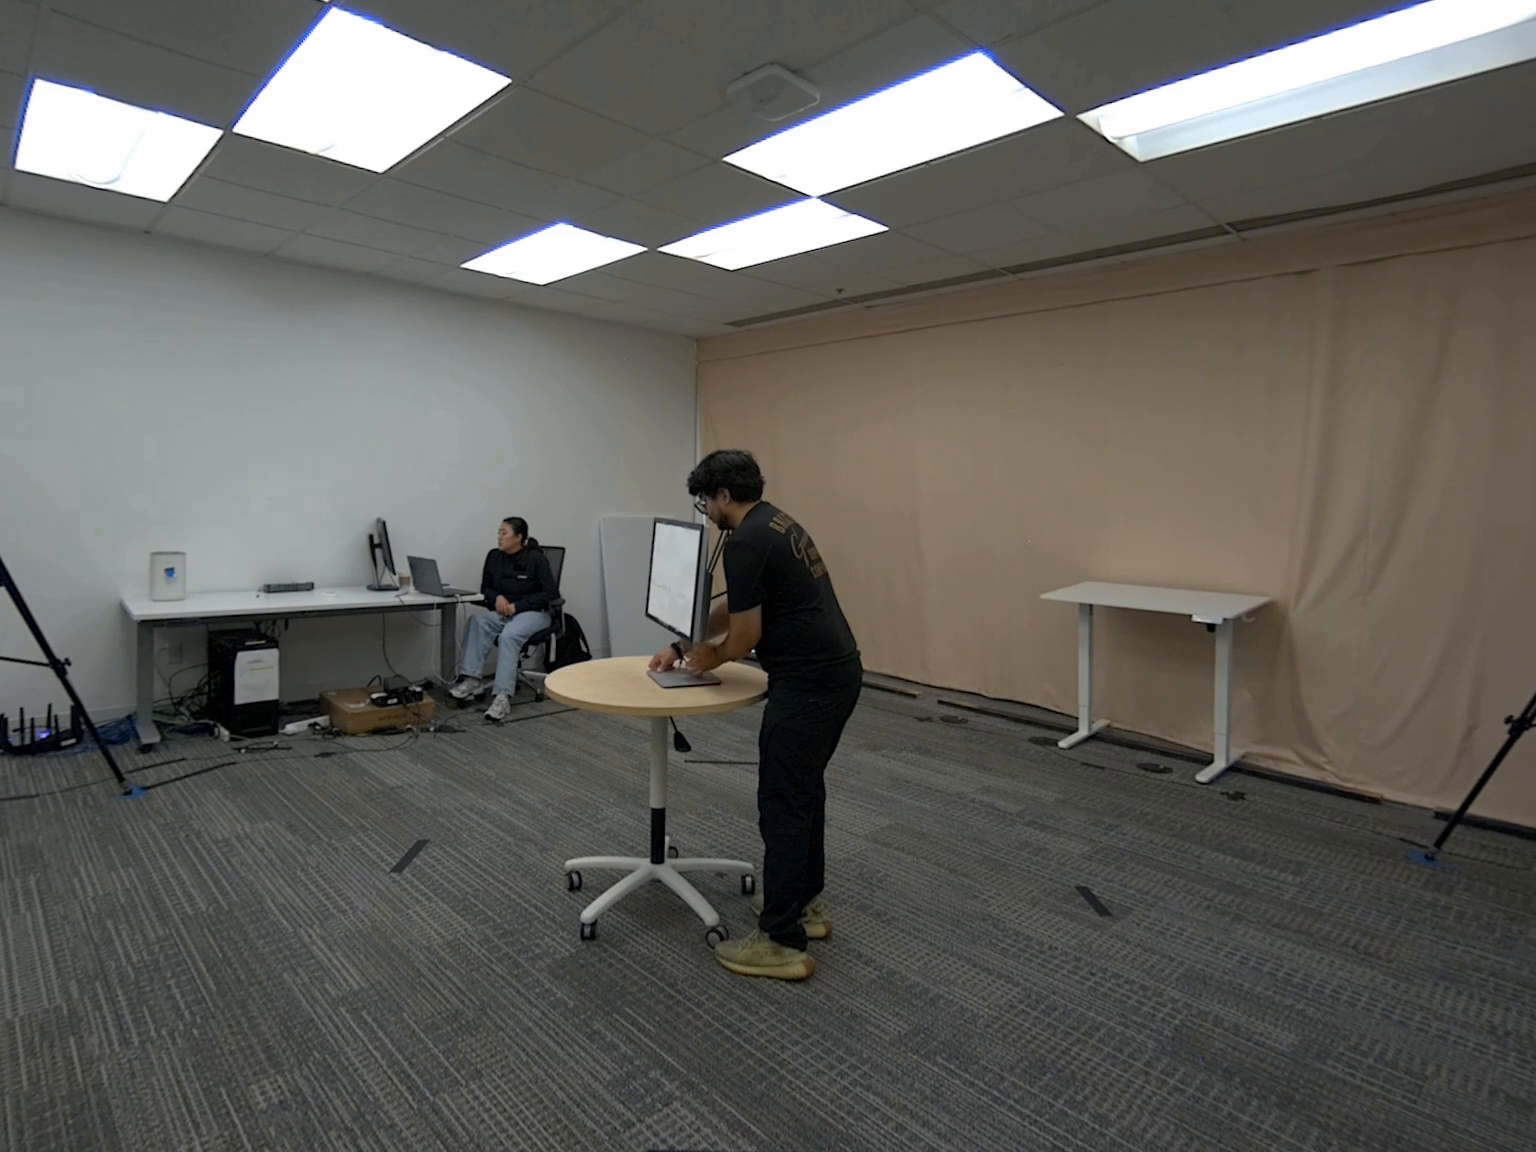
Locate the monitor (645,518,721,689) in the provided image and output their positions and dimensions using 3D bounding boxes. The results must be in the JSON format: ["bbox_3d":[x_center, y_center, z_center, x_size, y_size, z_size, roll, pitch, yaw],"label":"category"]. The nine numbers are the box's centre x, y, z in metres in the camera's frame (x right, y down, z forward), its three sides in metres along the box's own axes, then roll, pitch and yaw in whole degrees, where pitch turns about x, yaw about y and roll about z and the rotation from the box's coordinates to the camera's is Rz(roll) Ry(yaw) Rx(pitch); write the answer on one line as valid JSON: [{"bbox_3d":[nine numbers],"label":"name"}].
[{"bbox_3d":[-0.258,0.085,2.823,0.207,0.553,0.576,1,4,-21],"label":"monitor"}]
